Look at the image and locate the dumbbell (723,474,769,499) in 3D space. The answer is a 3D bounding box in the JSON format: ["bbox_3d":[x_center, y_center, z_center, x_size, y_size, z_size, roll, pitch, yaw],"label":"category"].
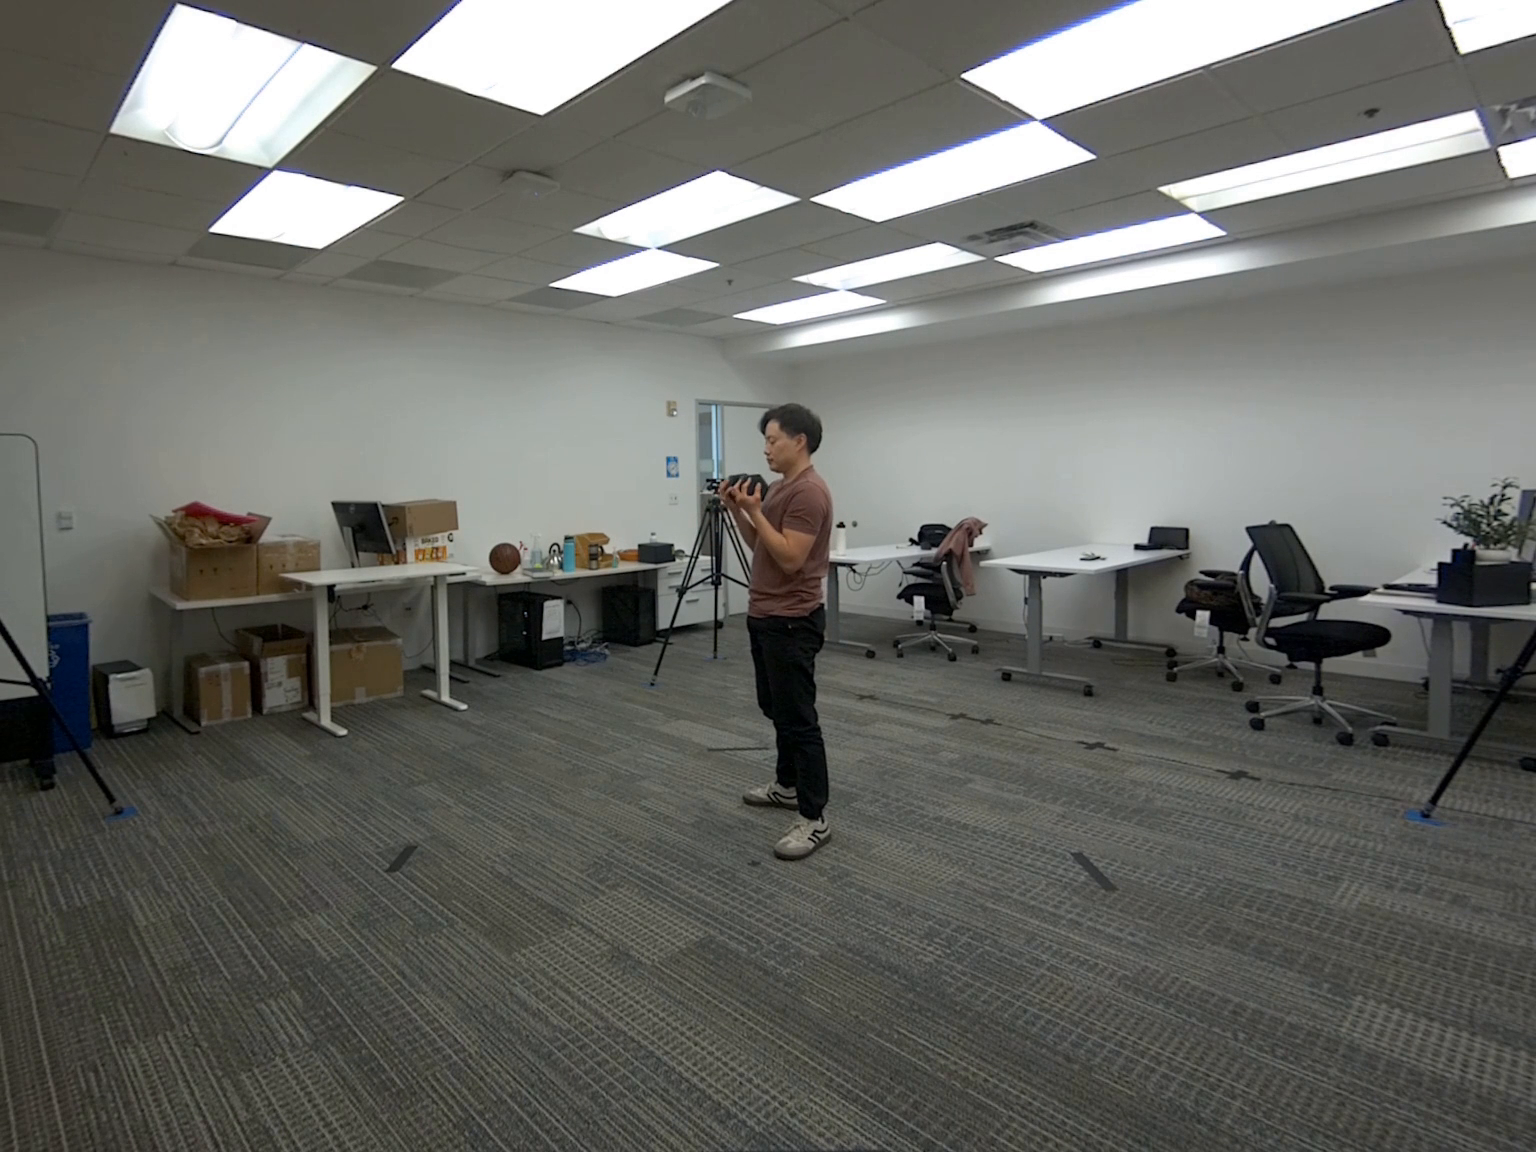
[{"bbox_3d":[-0.076,-0.344,3.341,0.108,0.121,0.298,-42,12,-5],"label":"dumbbell"}]
